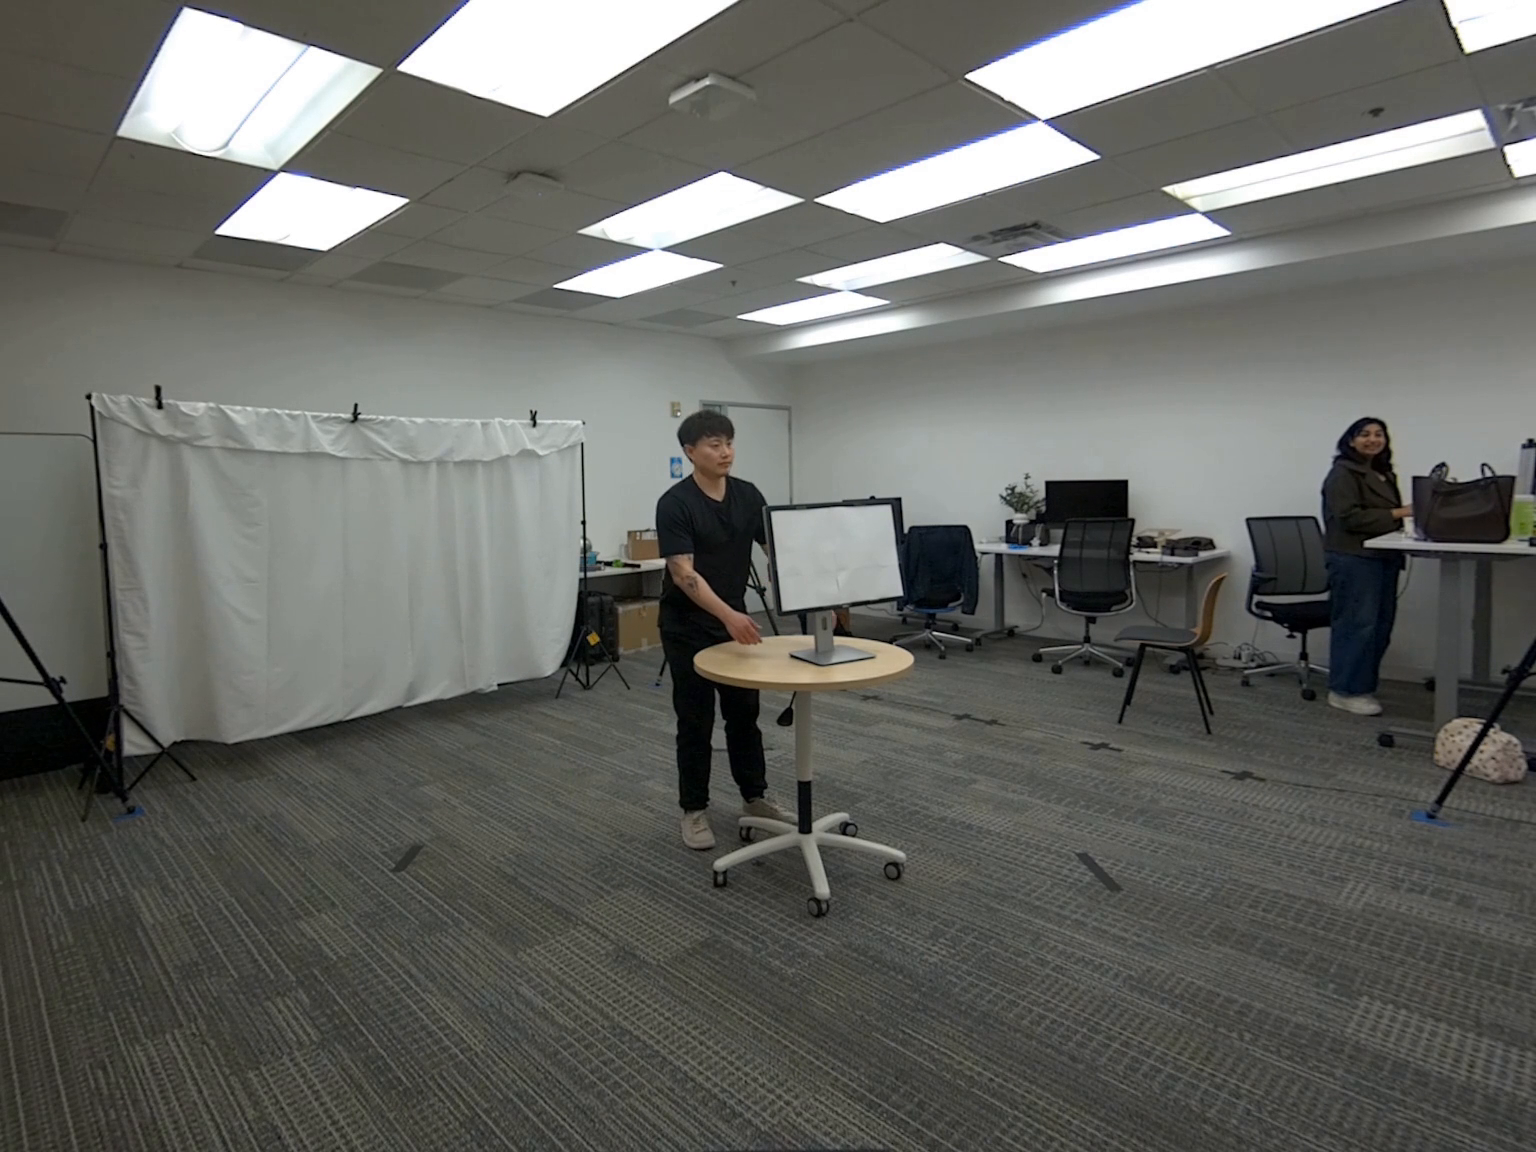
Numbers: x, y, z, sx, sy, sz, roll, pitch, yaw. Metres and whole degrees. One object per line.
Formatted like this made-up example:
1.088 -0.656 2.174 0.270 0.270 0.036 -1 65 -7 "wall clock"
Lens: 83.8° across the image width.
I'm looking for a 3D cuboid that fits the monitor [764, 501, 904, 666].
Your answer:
0.220 0.019 2.965 0.526 0.520 0.193 -5 7 -35 "monitor"
